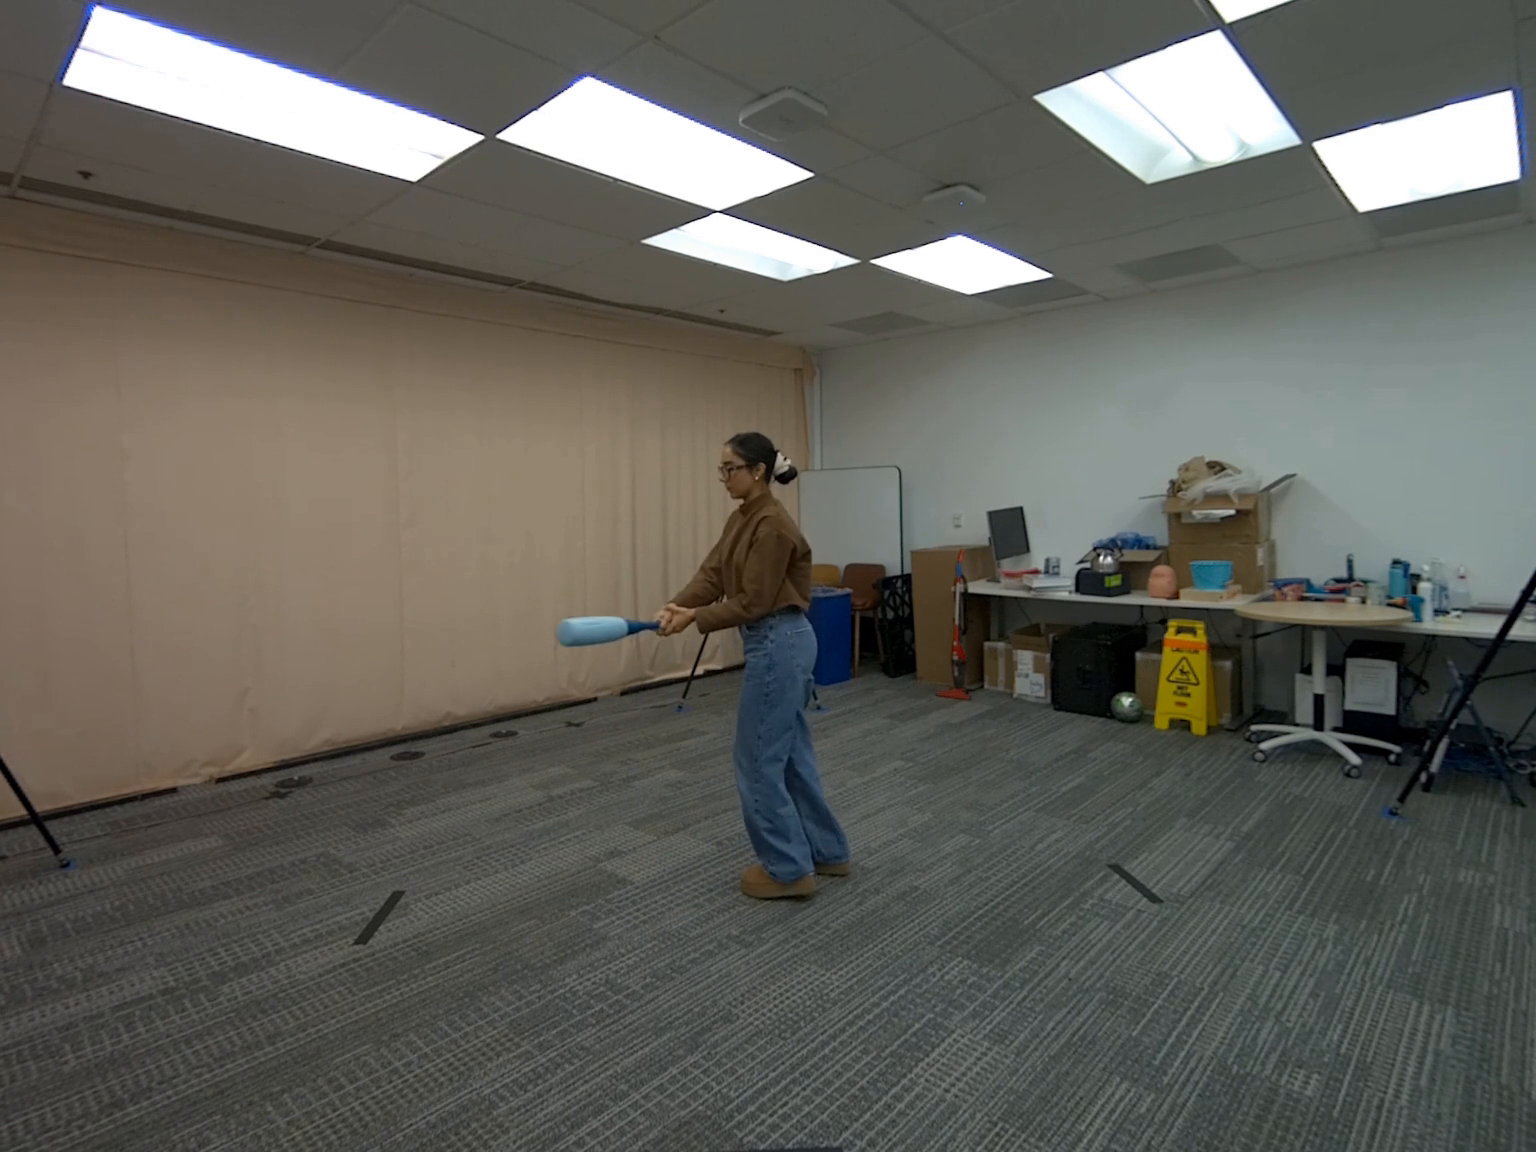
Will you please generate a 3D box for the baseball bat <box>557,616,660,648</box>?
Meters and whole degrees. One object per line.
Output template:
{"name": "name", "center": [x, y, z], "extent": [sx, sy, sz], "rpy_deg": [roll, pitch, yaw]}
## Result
{"name": "baseball bat", "center": [-0.450, 0.165, 2.784], "extent": [0.092, 0.089, 0.527], "rpy_deg": [2, 1, 32]}
